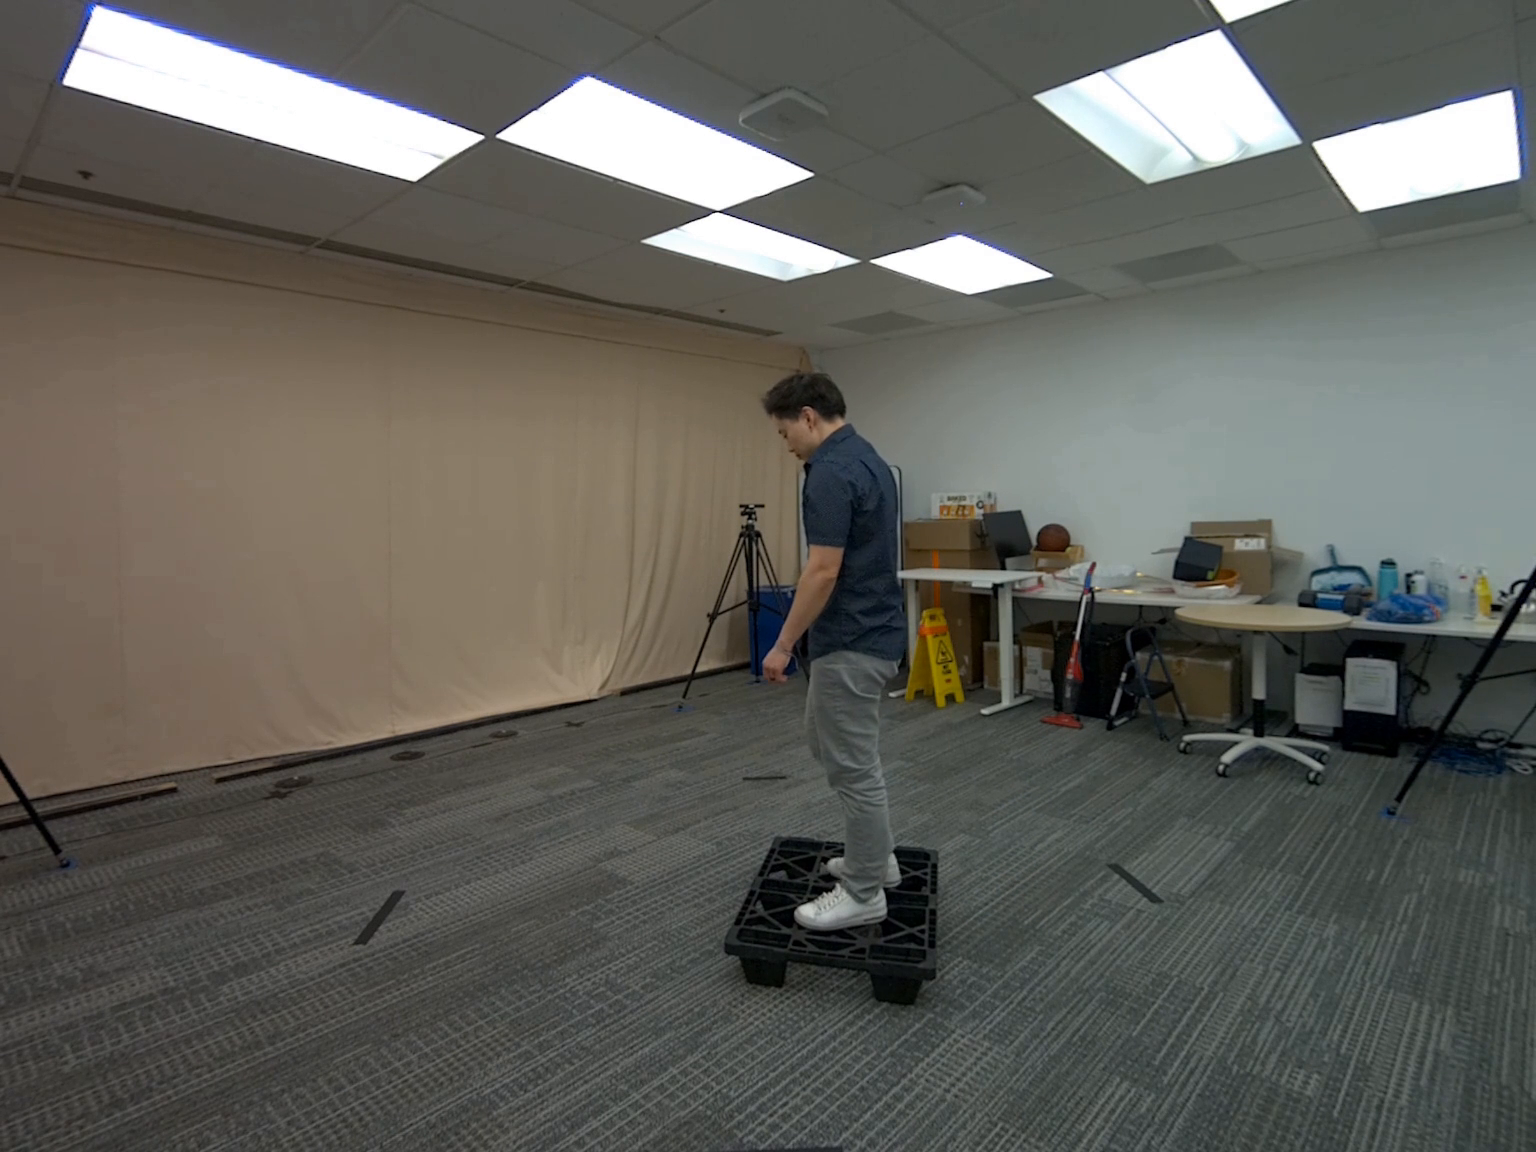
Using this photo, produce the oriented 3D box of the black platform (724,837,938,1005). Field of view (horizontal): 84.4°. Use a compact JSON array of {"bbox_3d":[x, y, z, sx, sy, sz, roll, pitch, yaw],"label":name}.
[{"bbox_3d":[0.250,1.089,2.739,0.615,0.143,0.795,1,5,13],"label":"black platform"}]
